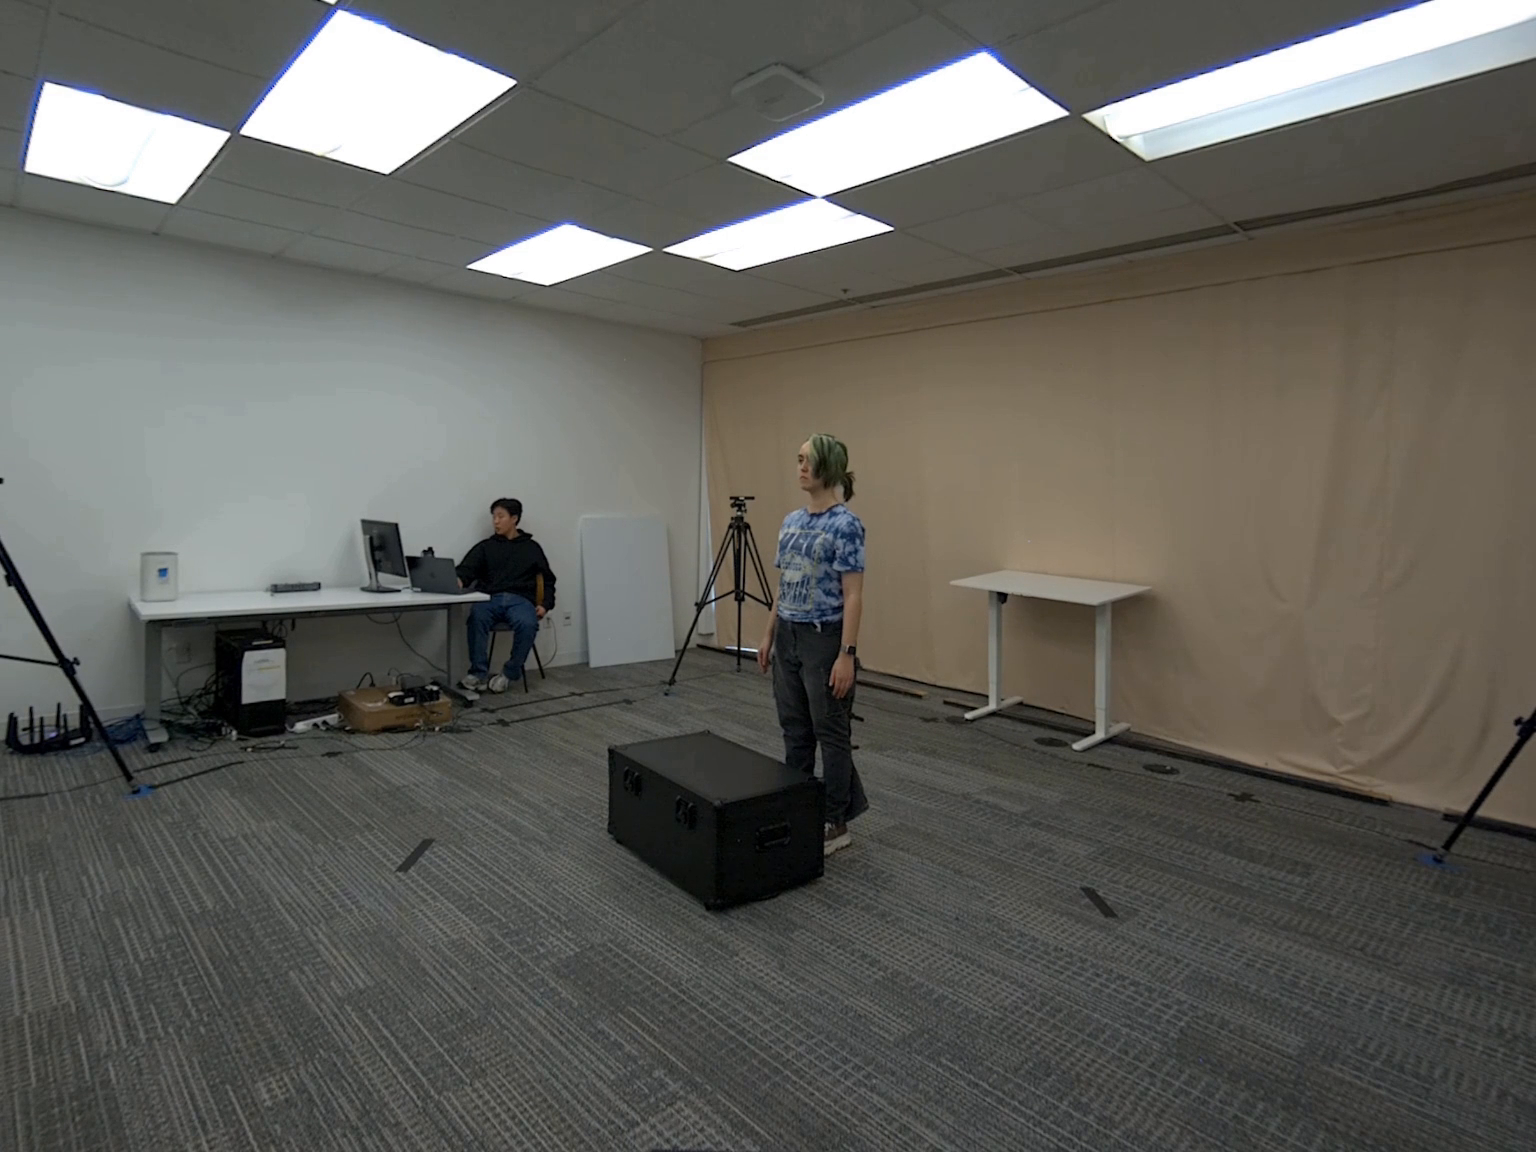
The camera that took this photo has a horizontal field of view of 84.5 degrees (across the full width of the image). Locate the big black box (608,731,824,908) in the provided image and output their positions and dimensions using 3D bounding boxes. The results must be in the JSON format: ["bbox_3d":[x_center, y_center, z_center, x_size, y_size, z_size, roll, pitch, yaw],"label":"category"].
[{"bbox_3d":[-0.247,0.900,3.251,0.510,0.395,0.883,-2,6,-37],"label":"big black box"}]
